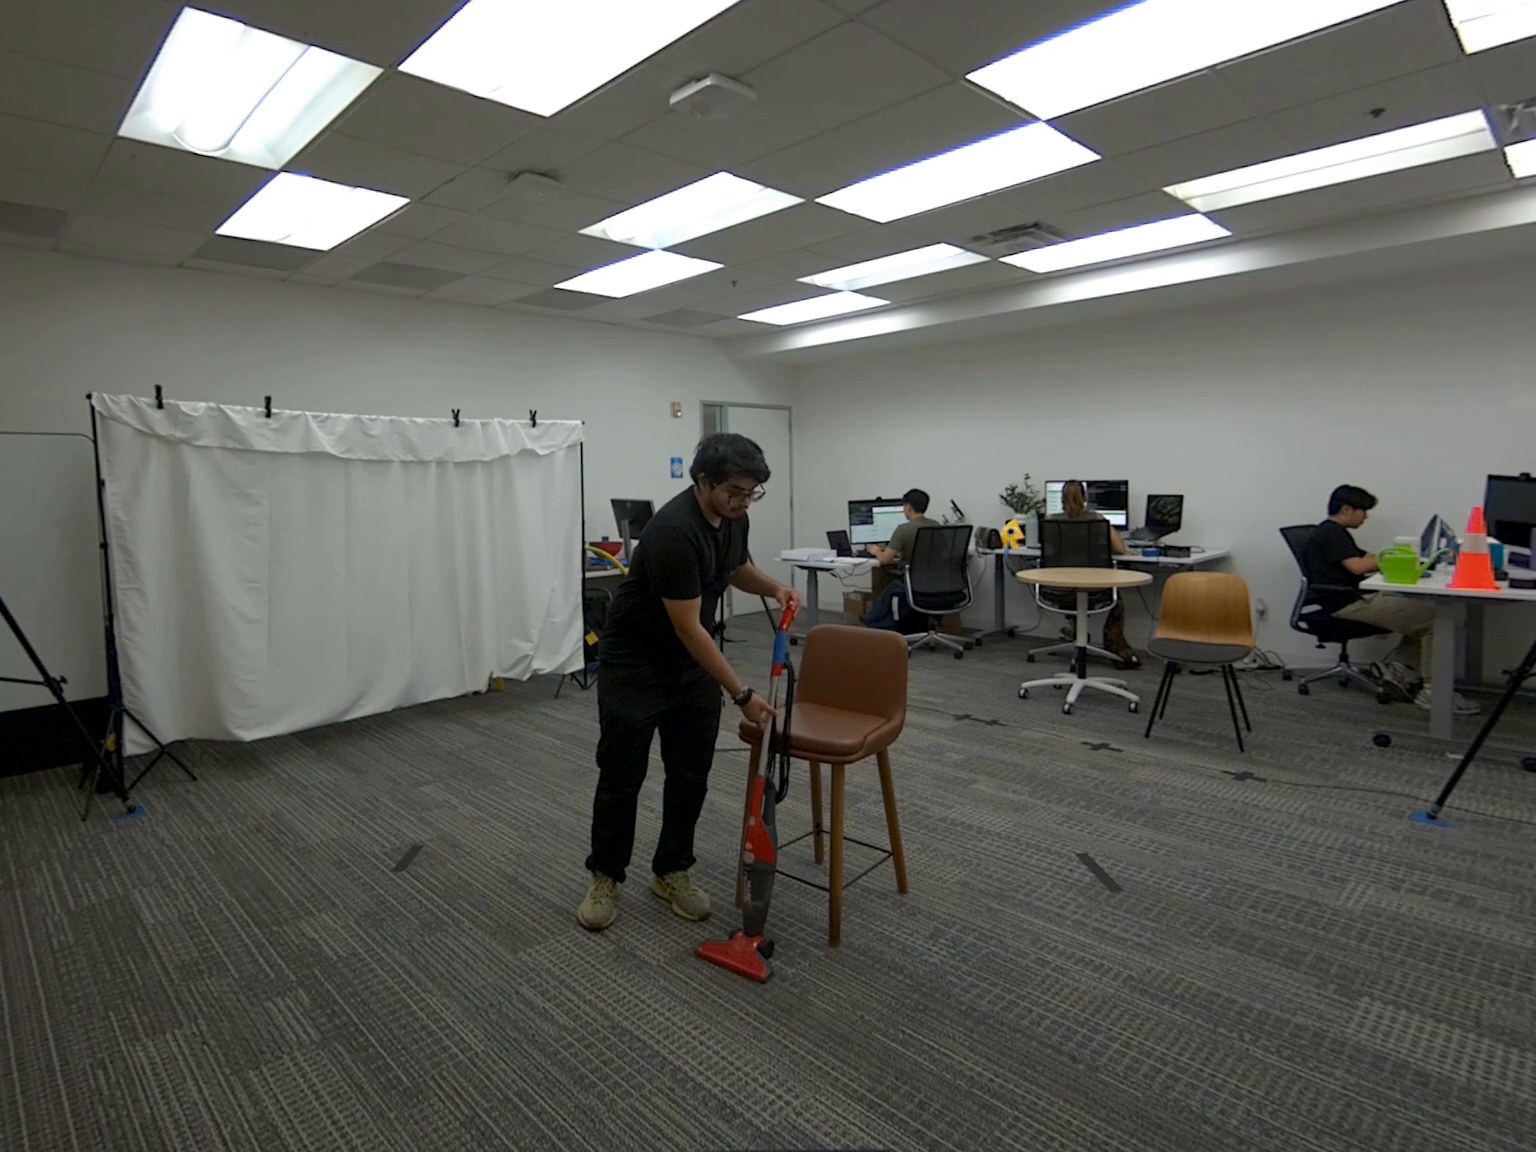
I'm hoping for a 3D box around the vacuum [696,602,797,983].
[{"bbox_3d":[0.011,0.610,2.598,0.260,1.057,0.139,4,-12,33],"label":"vacuum"}]
